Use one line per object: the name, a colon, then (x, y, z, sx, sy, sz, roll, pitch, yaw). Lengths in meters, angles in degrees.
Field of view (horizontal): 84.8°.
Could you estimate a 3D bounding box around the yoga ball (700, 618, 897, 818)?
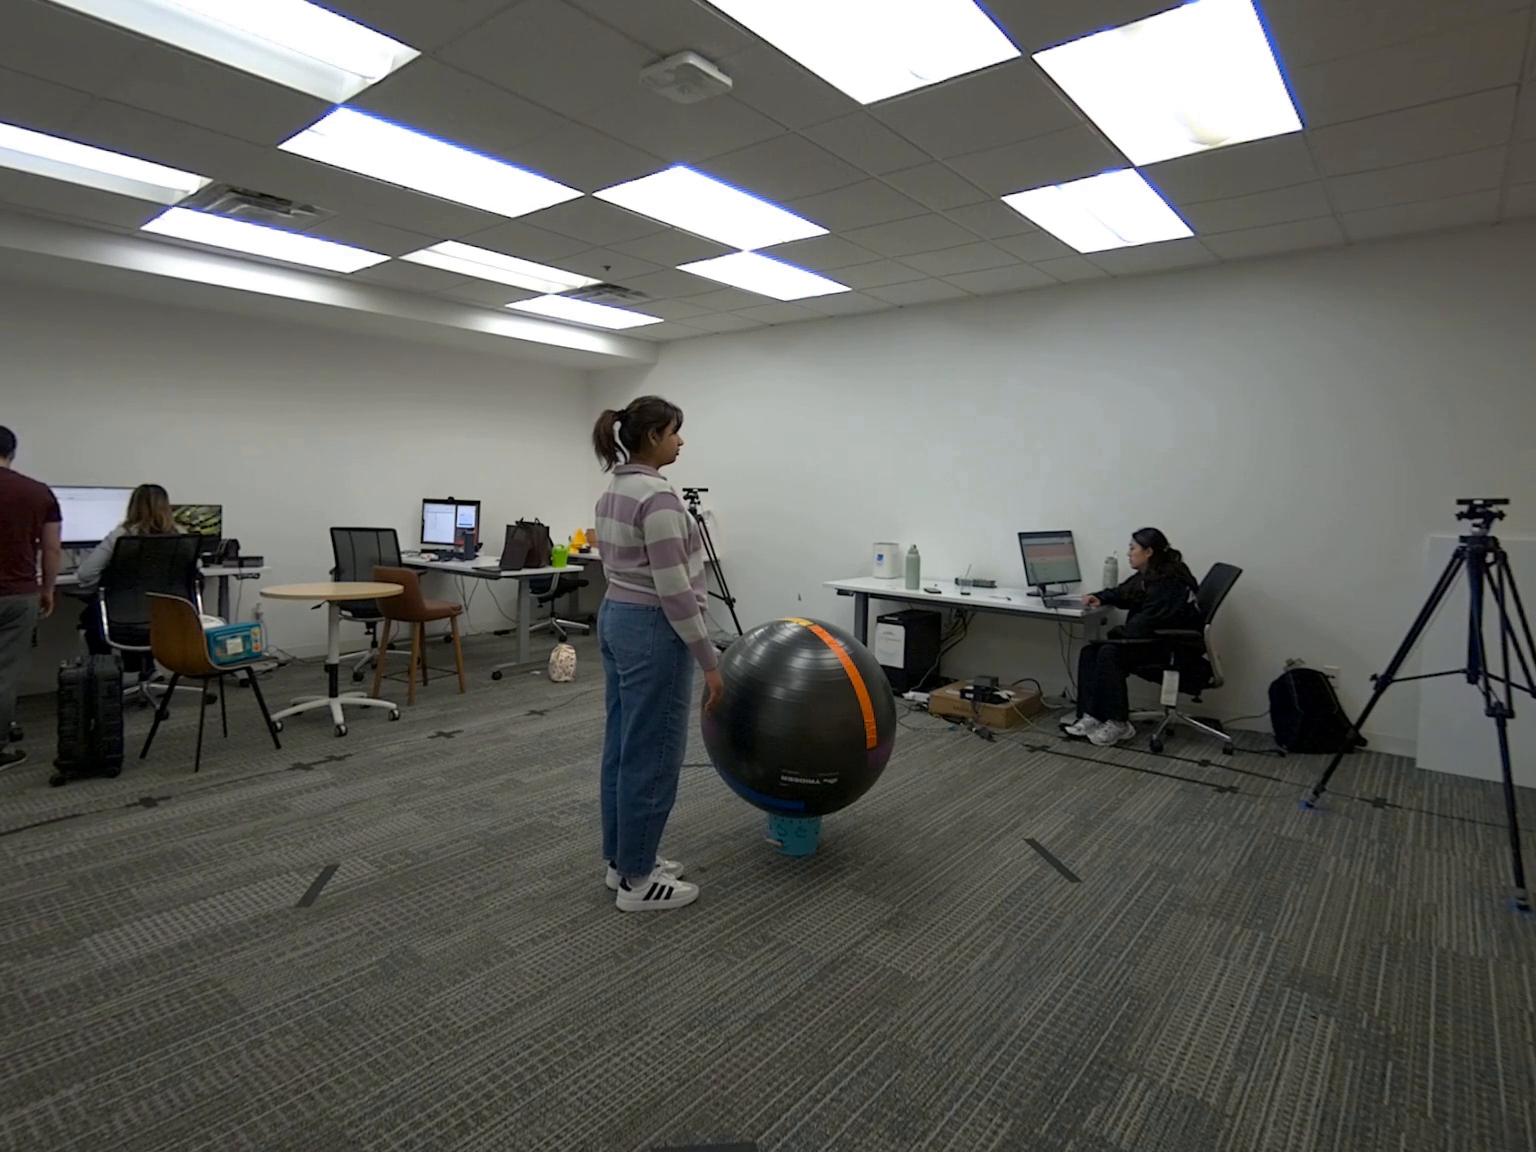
yoga ball: (0.125, 0.545, 3.325, 0.757, 0.756, 0.762, 1, 4, -2)
